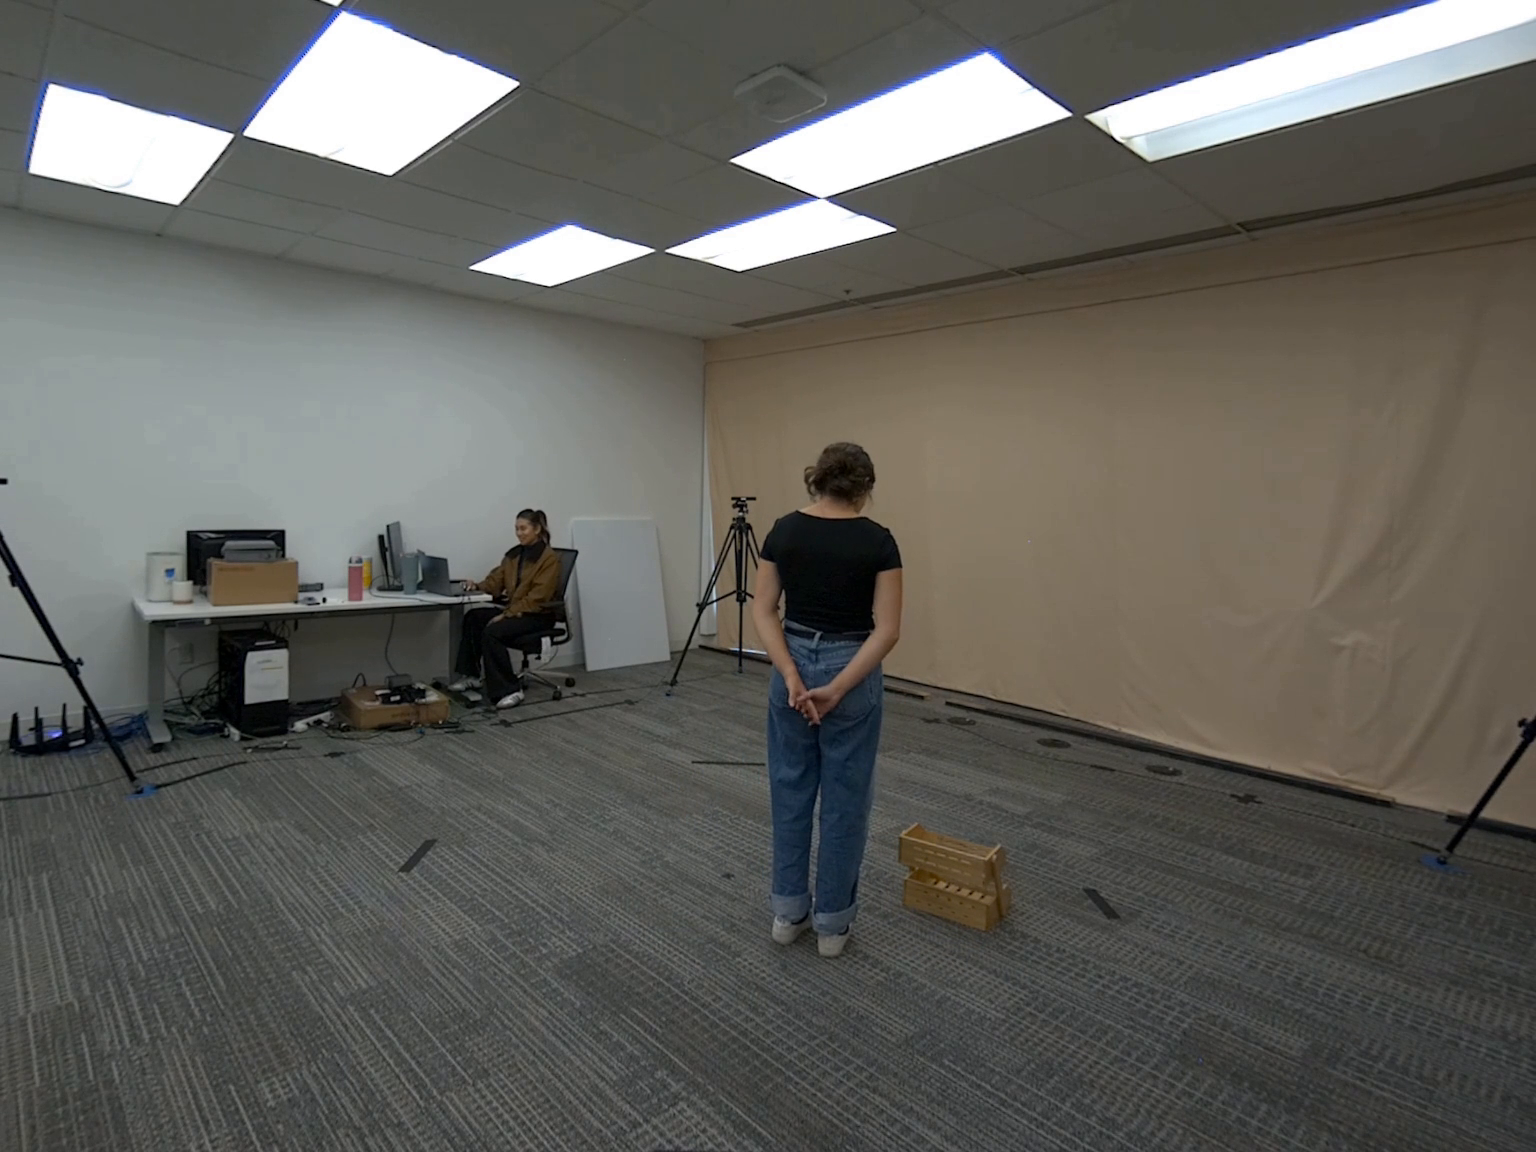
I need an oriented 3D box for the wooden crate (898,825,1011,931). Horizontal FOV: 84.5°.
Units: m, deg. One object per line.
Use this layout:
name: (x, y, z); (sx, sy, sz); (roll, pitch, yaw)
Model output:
wooden crate: (0.644, 1.012, 2.899); (0.332, 0.272, 0.296); (5, 6, 34)
